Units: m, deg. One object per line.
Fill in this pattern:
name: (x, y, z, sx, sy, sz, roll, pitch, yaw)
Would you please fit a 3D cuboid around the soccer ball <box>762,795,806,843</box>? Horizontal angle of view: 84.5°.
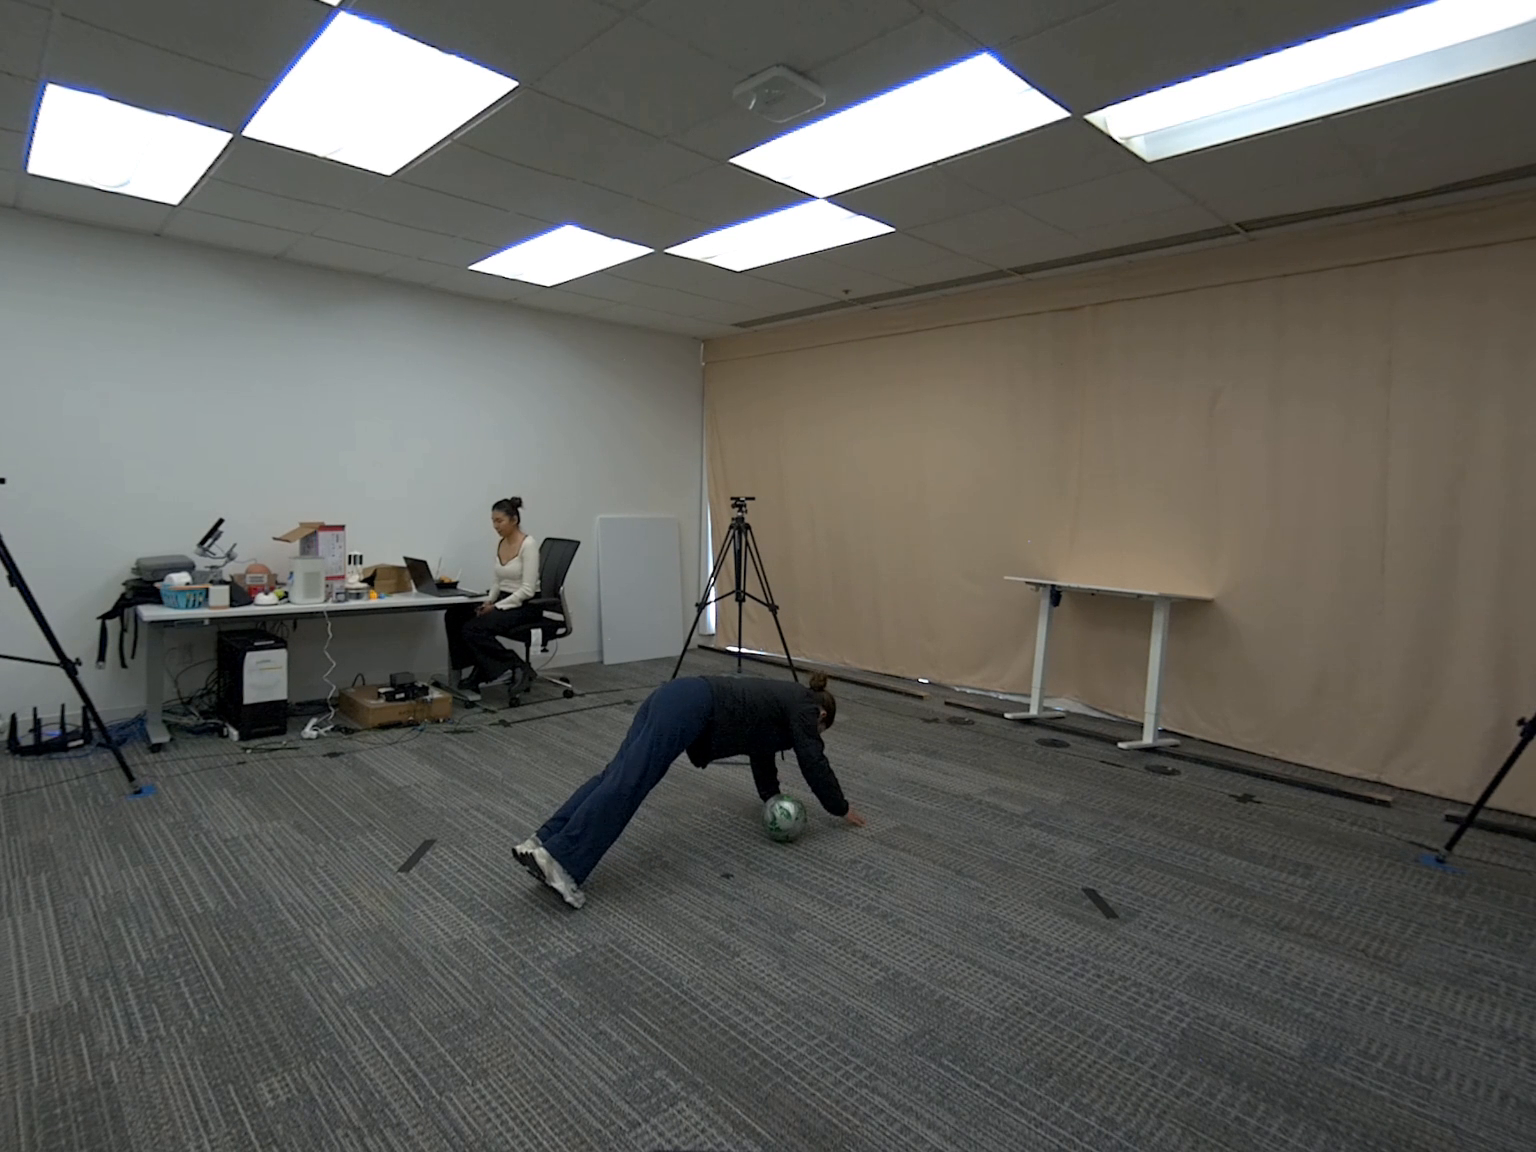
soccer ball: (0.054, 0.988, 3.450, 0.187, 0.187, 0.188, 1, 4, -1)
